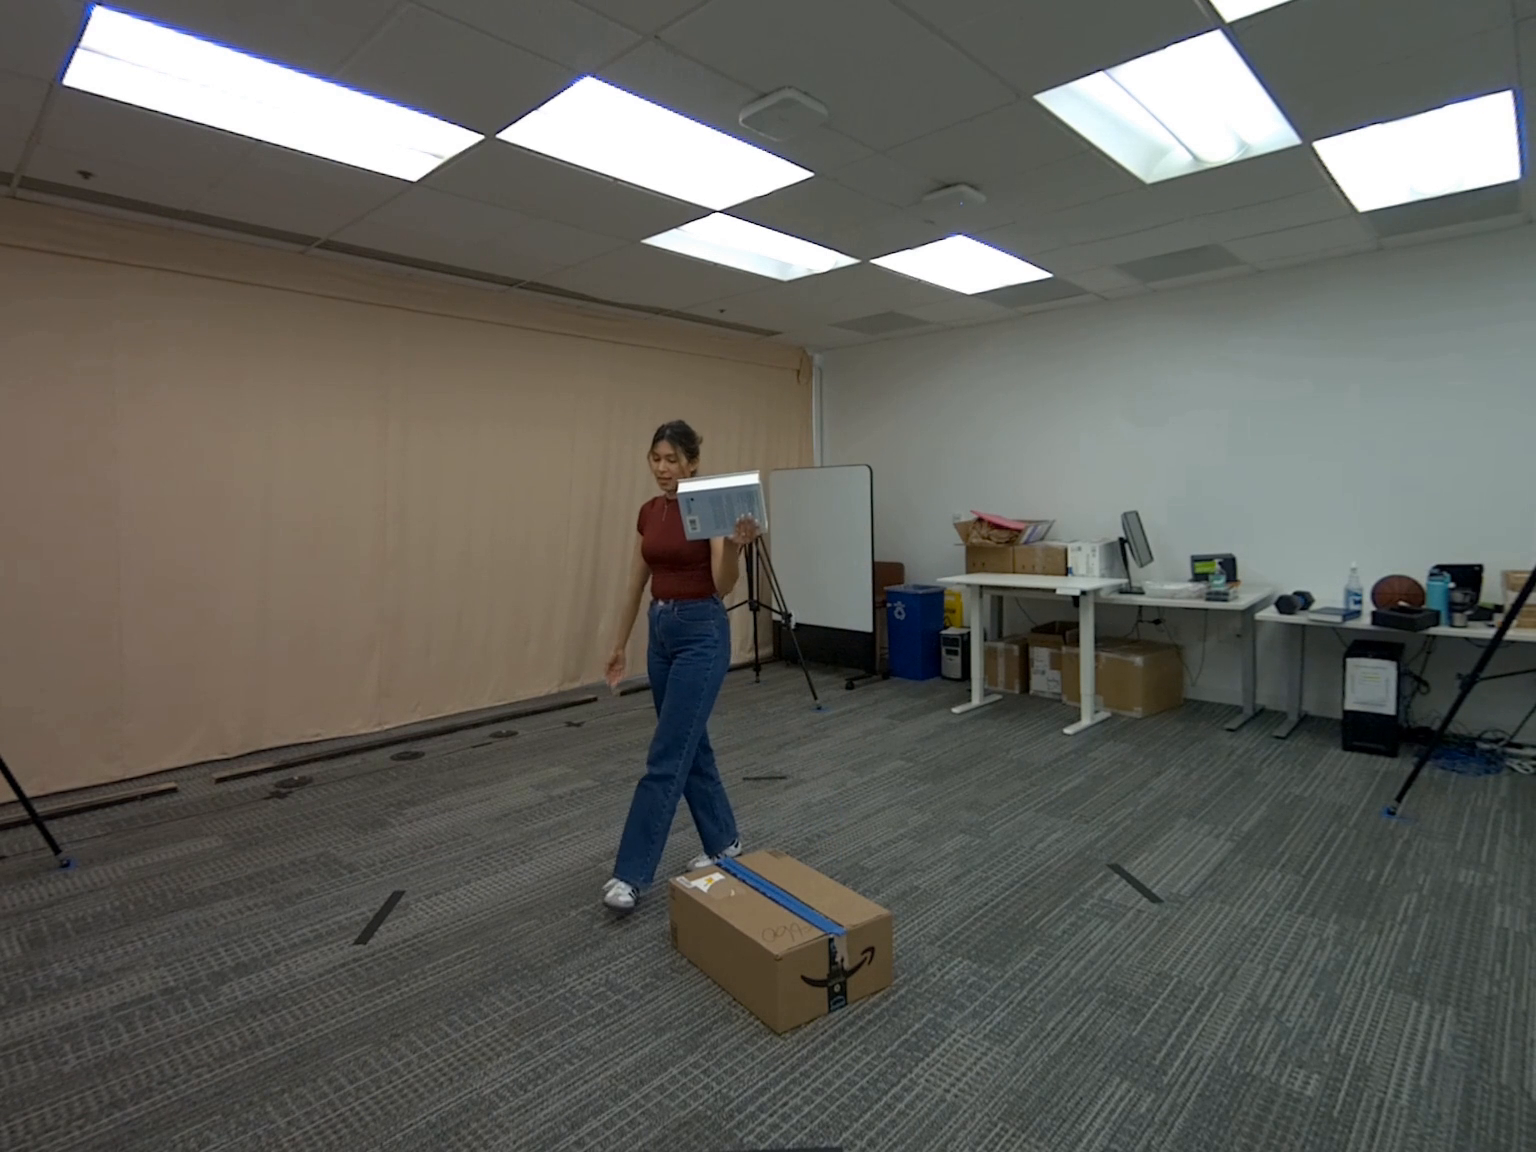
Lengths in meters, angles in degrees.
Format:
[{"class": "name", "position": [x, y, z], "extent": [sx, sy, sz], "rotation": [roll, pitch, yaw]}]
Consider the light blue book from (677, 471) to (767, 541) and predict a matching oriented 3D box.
[{"class": "light blue book", "position": [-0.136, -0.218, 2.661], "extent": [0.263, 0.187, 0.060], "rotation": [-6, 32, 7]}]
